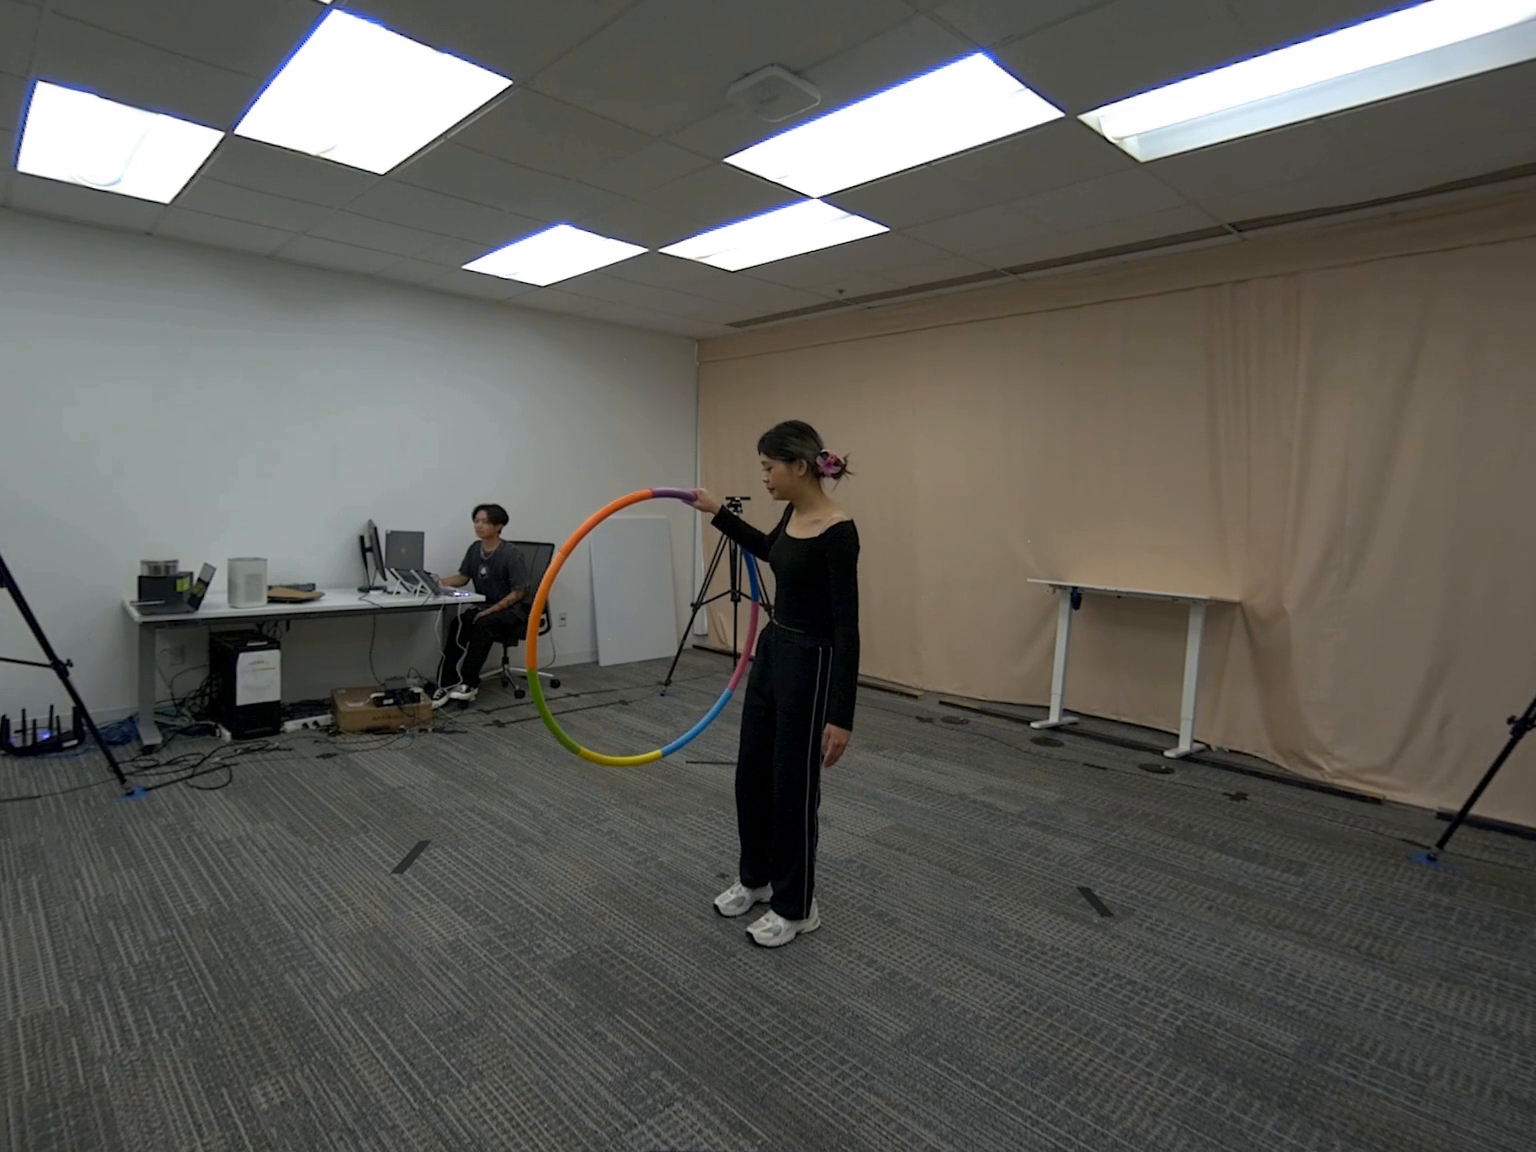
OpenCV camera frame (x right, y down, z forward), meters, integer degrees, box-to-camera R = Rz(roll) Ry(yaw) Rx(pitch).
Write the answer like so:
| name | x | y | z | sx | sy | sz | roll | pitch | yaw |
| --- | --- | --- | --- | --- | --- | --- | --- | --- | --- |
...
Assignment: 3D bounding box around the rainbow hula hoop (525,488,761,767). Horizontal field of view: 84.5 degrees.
| name | x | y | z | sx | sy | sz | roll | pitch | yaw |
| --- | --- | --- | --- | --- | --- | --- | --- | --- | --- |
| rainbow hula hoop | -0.385 | 0.184 | 2.920 | 0.956 | 0.972 | 0.036 | -3 | 13 | -43 |
